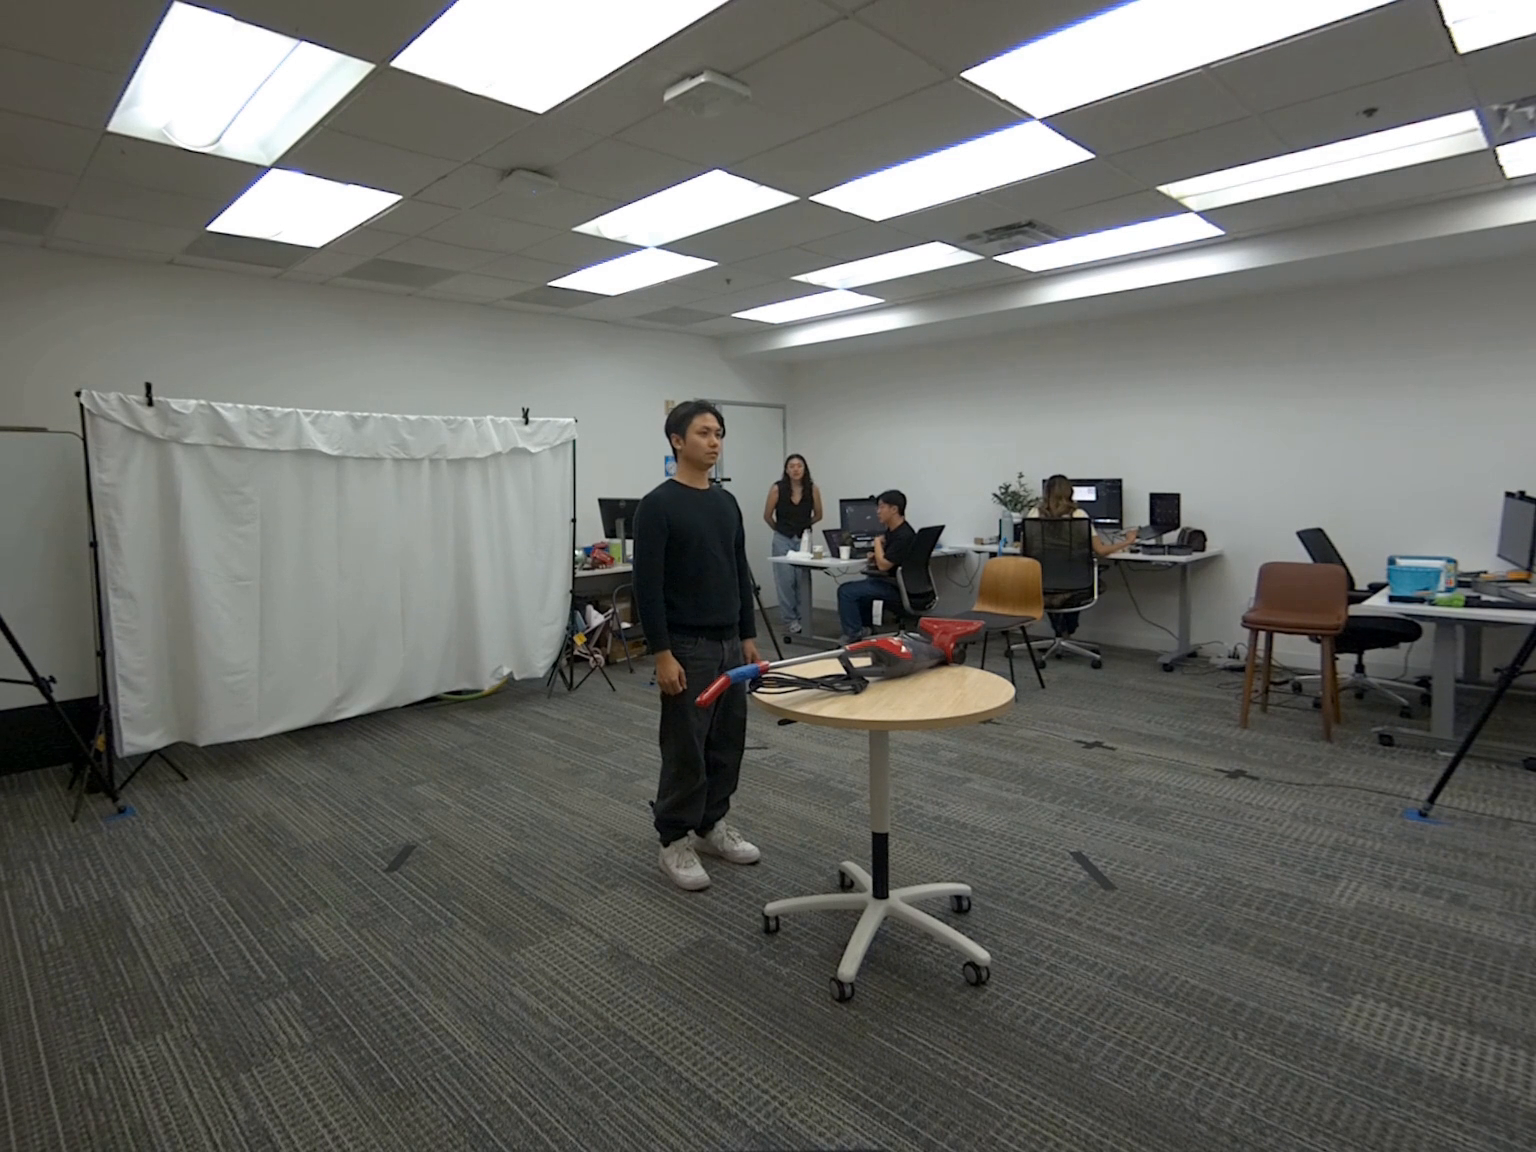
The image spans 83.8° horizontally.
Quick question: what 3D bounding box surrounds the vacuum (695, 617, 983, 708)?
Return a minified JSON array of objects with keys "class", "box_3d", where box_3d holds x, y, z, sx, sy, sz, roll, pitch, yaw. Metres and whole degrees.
[{"class":"vacuum","box_3d":[0.210,0.277,2.454,1.023,0.144,0.259,-6,2,-38]}]
